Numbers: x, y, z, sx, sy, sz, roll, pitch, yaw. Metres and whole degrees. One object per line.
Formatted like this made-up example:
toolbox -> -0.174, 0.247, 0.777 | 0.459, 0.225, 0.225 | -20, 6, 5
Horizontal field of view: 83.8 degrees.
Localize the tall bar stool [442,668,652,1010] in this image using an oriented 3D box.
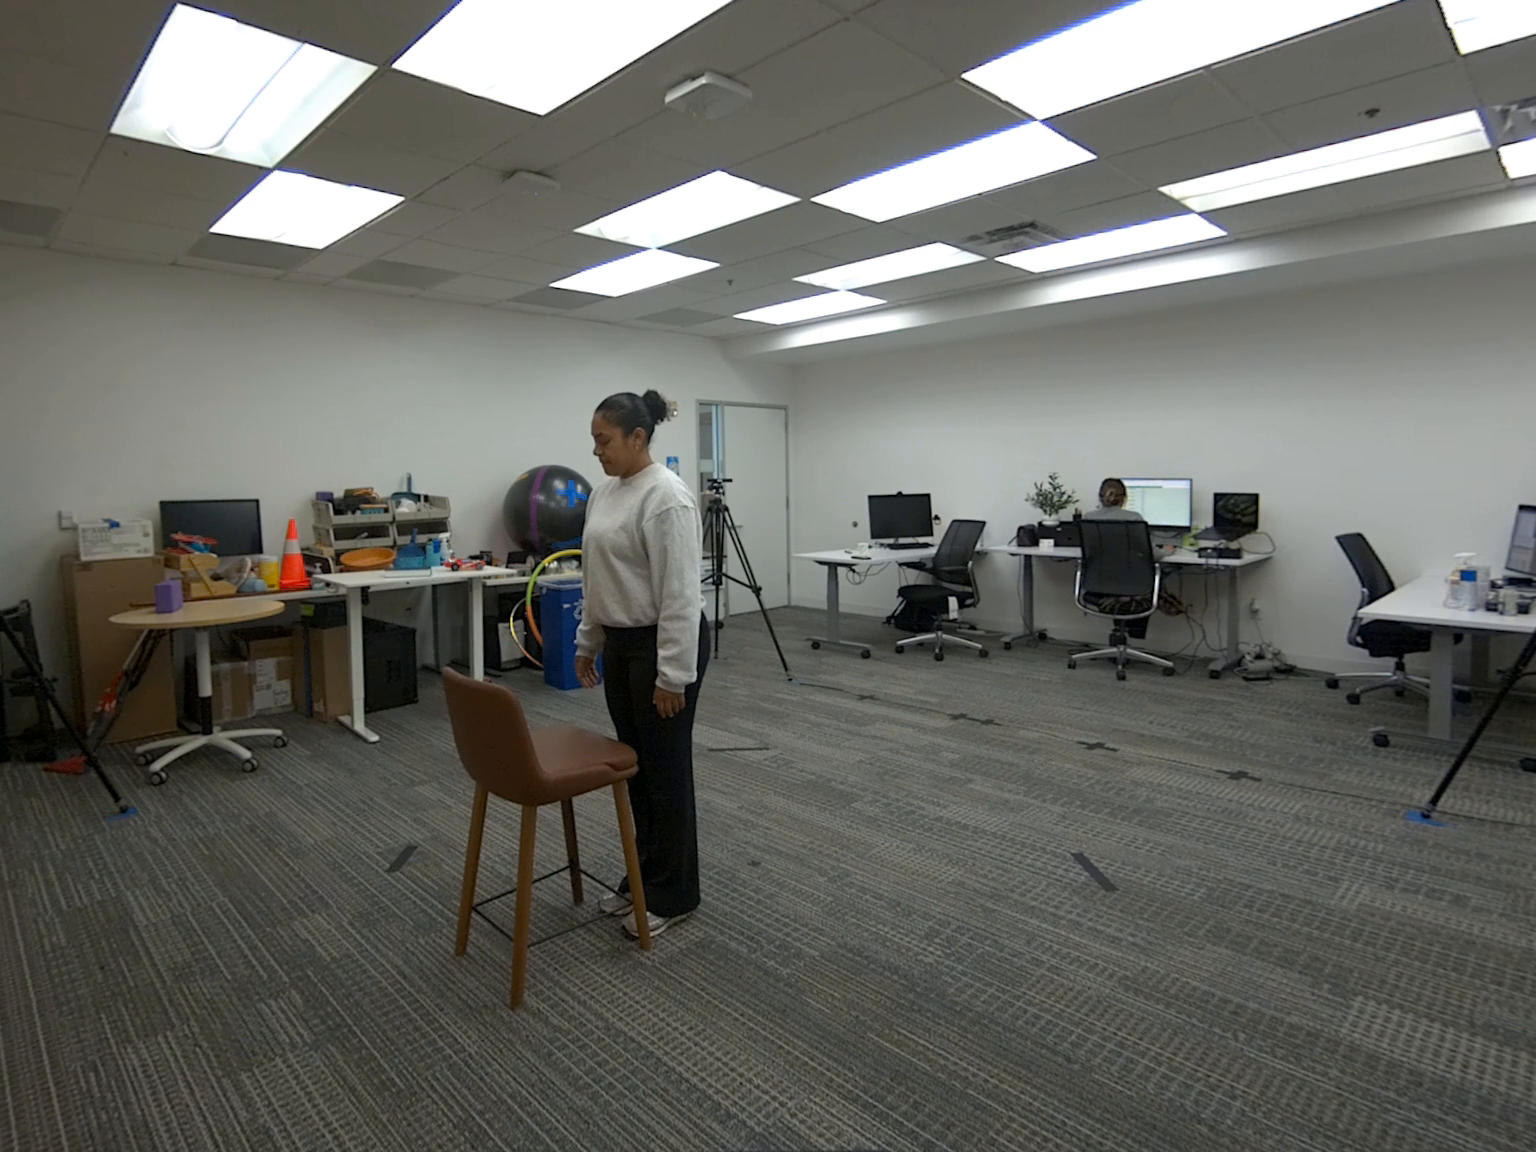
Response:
tall bar stool -> -0.654, 0.684, 2.527 | 0.456, 0.885, 0.471 | -7, 8, -43
